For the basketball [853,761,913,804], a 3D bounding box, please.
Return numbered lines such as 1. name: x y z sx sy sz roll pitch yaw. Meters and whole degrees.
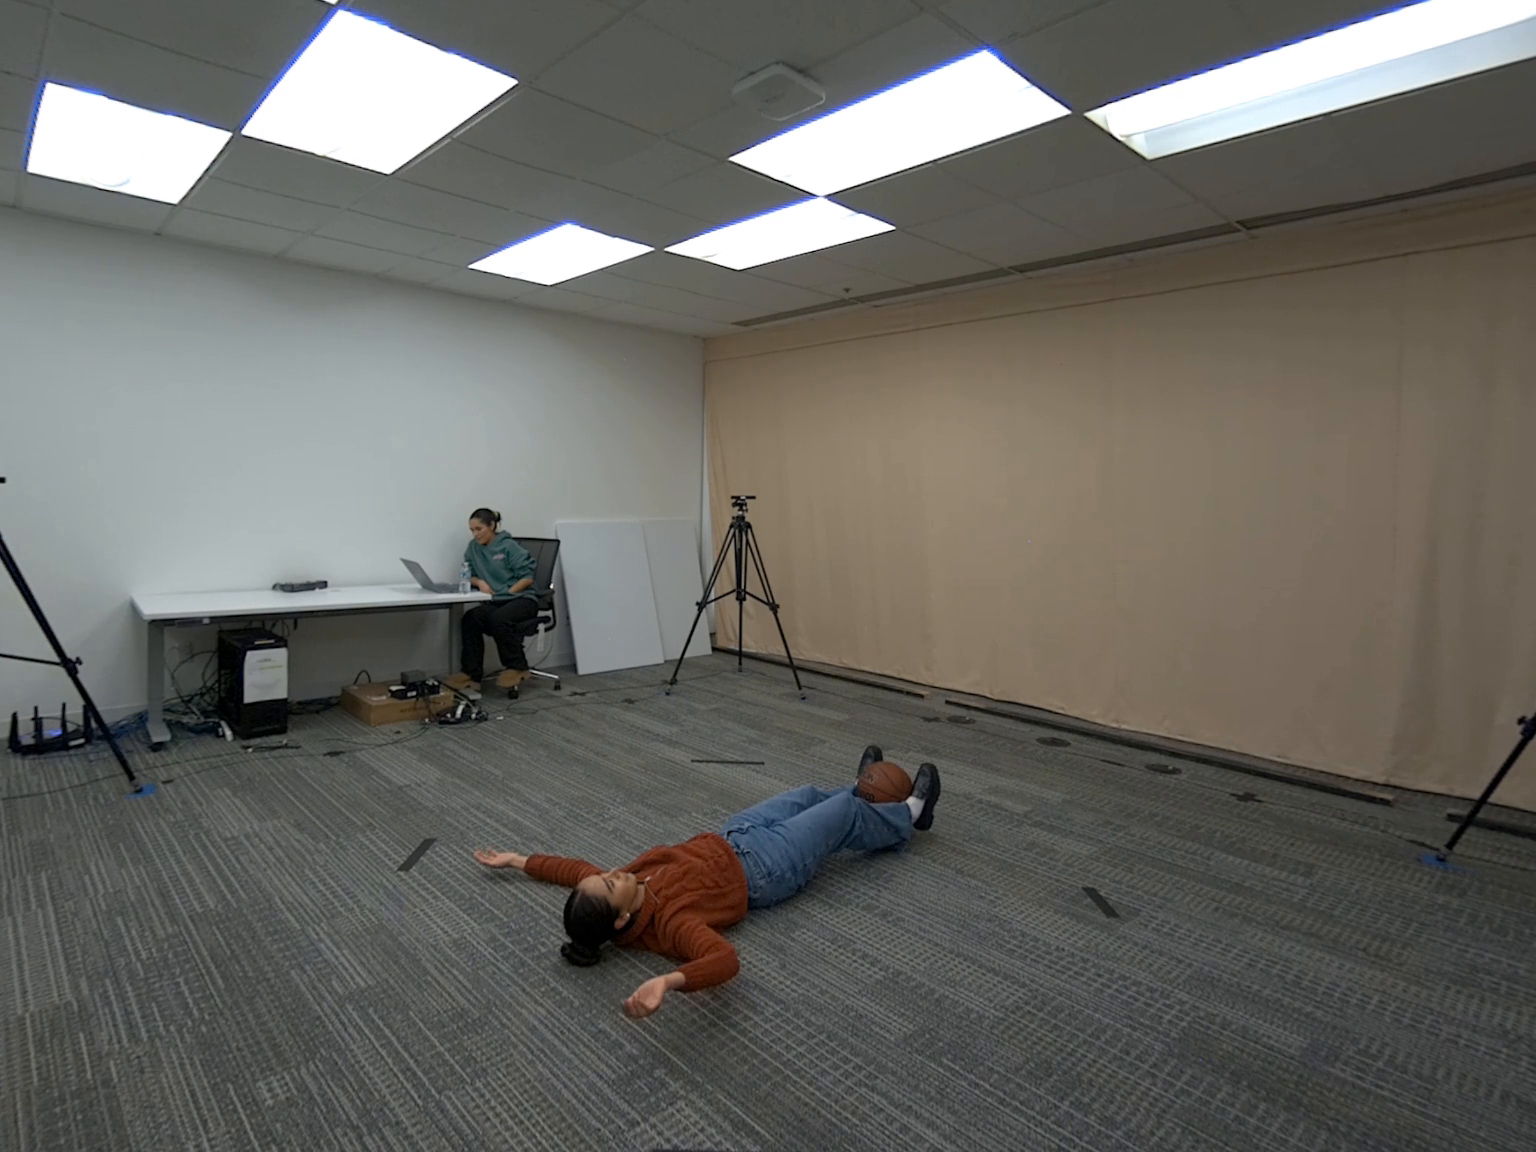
1. basketball: 0.480 0.895 3.527 0.236 0.234 0.237 0 8 -1
